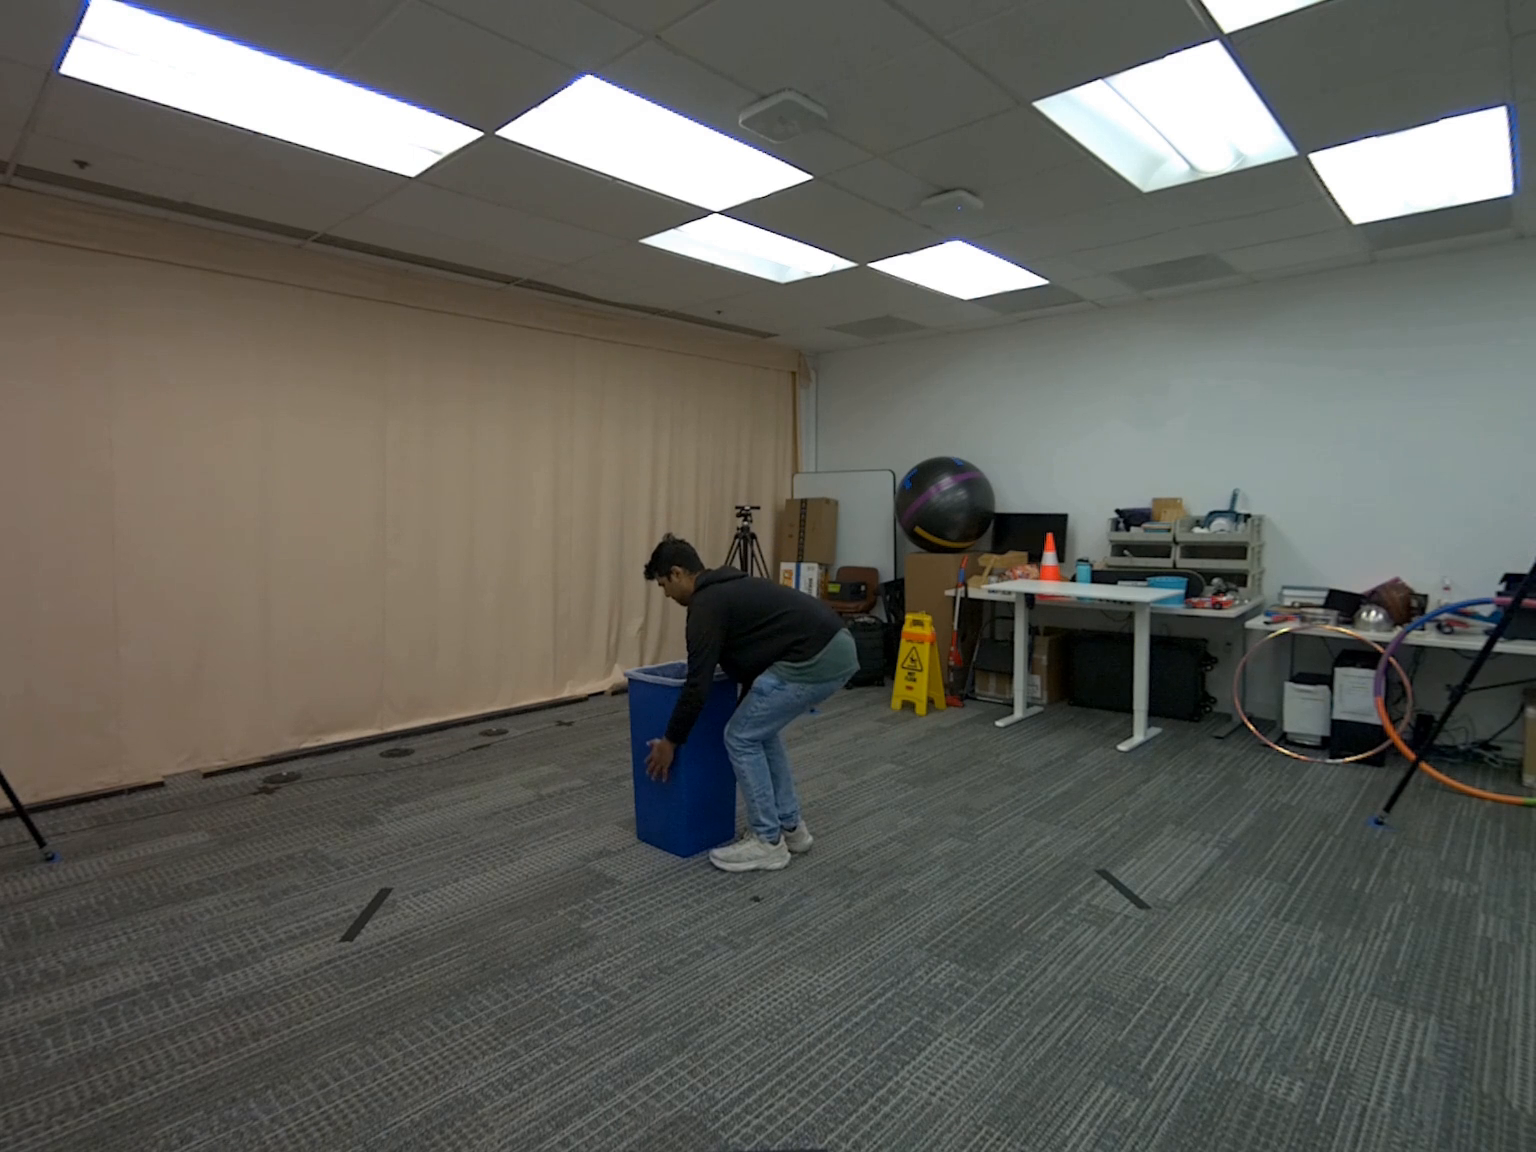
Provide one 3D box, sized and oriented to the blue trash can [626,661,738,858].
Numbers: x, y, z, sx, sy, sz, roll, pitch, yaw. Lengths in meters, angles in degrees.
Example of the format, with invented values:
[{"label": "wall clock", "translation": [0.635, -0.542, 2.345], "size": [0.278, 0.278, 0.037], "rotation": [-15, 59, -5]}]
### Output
[{"label": "blue trash can", "translation": [-0.359, 0.748, 3.529], "size": [0.386, 0.712, 0.366], "rotation": [2, 3, 42]}]
